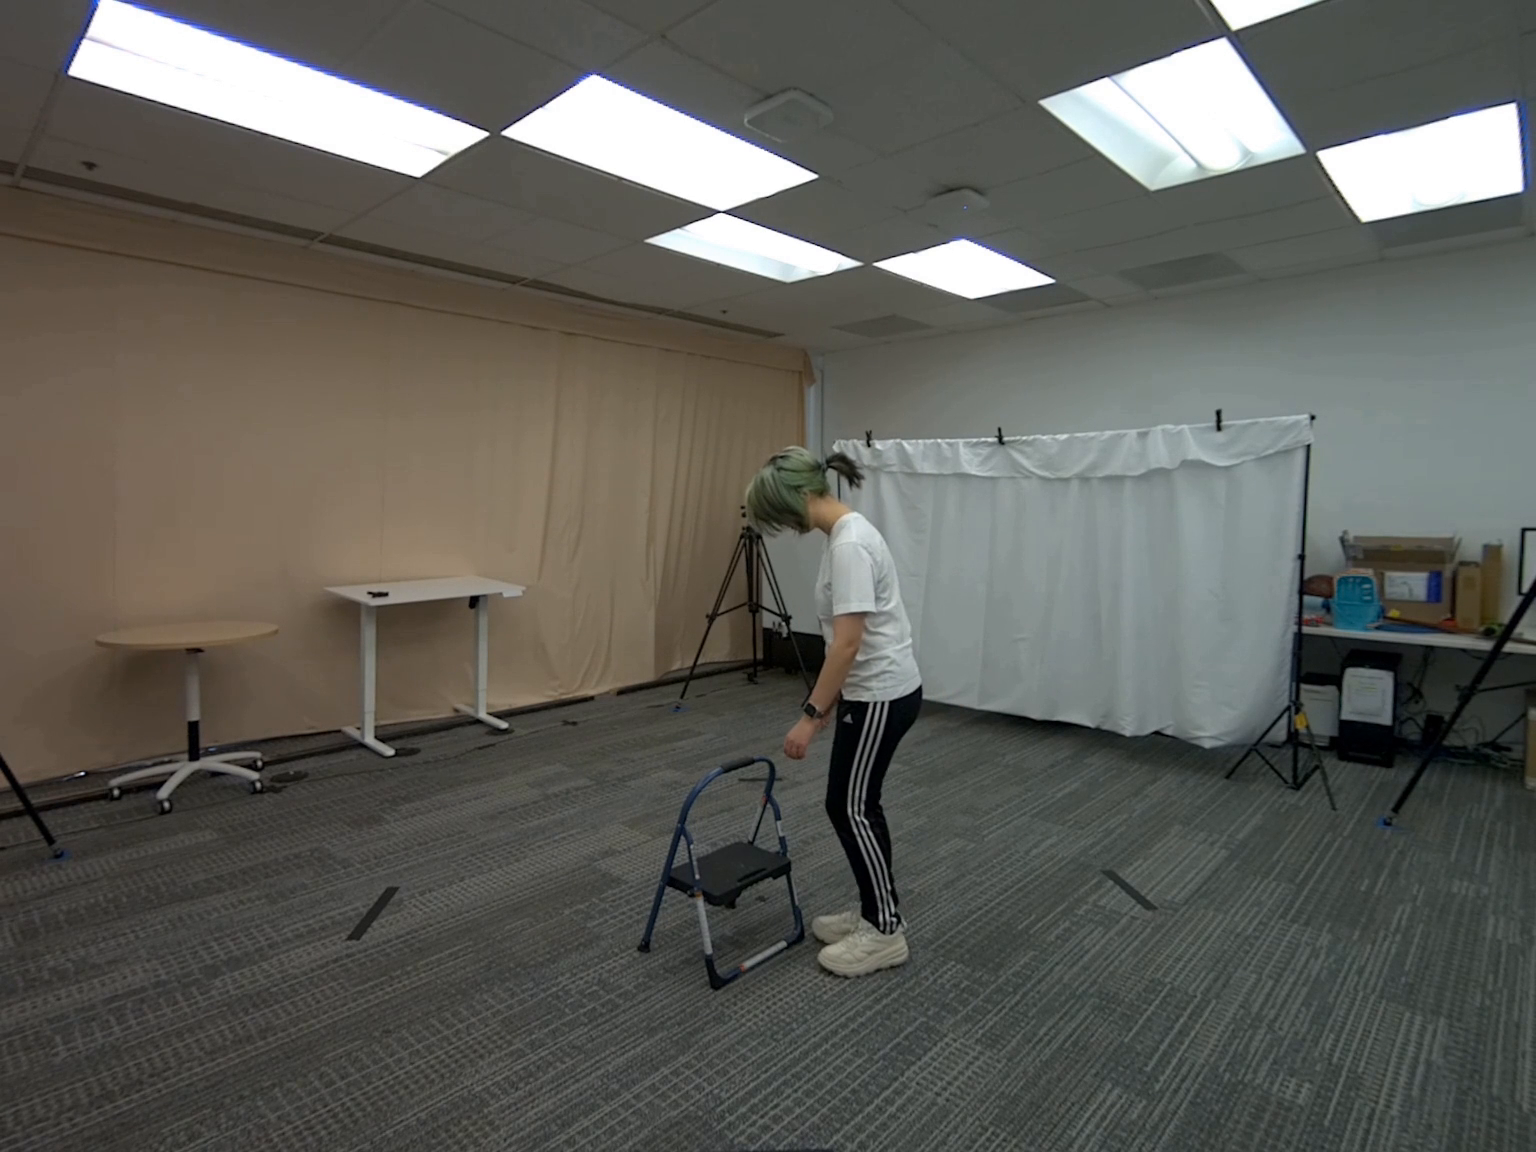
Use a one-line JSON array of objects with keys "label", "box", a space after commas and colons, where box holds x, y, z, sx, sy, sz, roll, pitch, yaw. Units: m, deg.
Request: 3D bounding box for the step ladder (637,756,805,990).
[{"label": "step ladder", "box": [-0.144, 0.868, 2.669, 0.361, 0.605, 0.417, 3, 5, 43]}]
